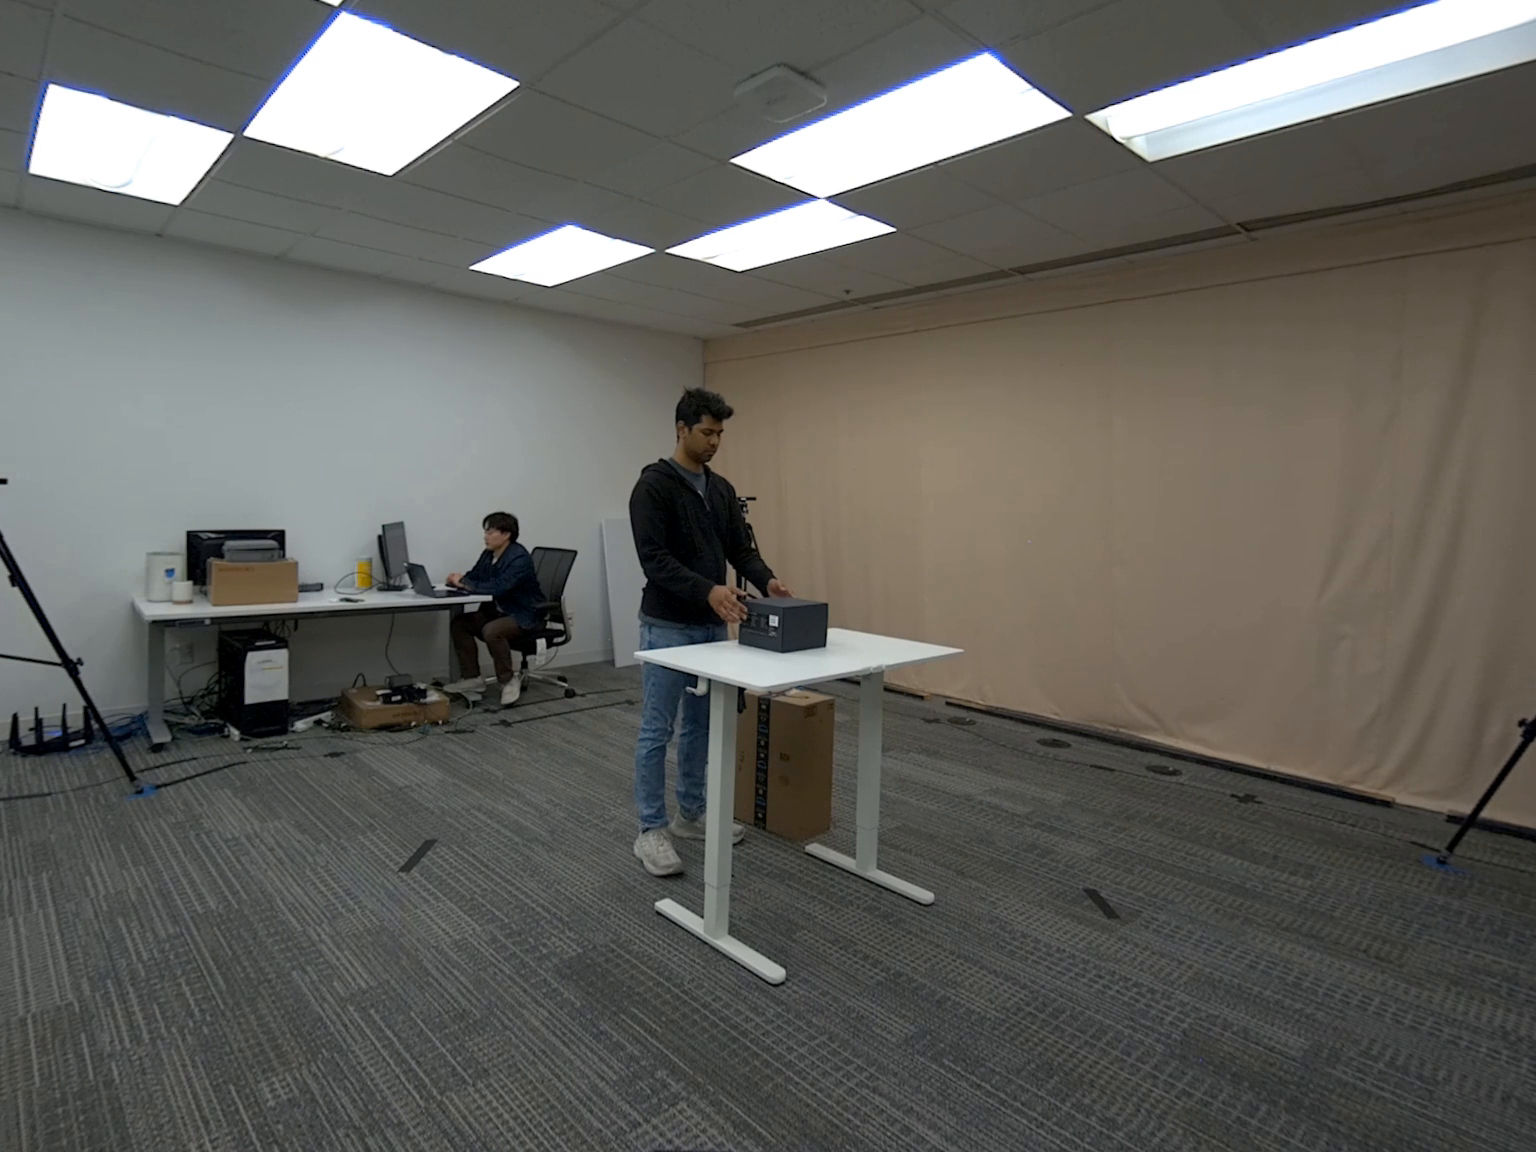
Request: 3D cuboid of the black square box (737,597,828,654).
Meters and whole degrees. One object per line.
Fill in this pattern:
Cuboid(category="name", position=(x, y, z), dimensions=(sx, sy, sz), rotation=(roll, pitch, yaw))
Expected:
Cuboid(category="black square box", position=(0.054, 0.168, 2.927), dimensions=(0.223, 0.155, 0.222), rotation=(-3, 6, -44))
